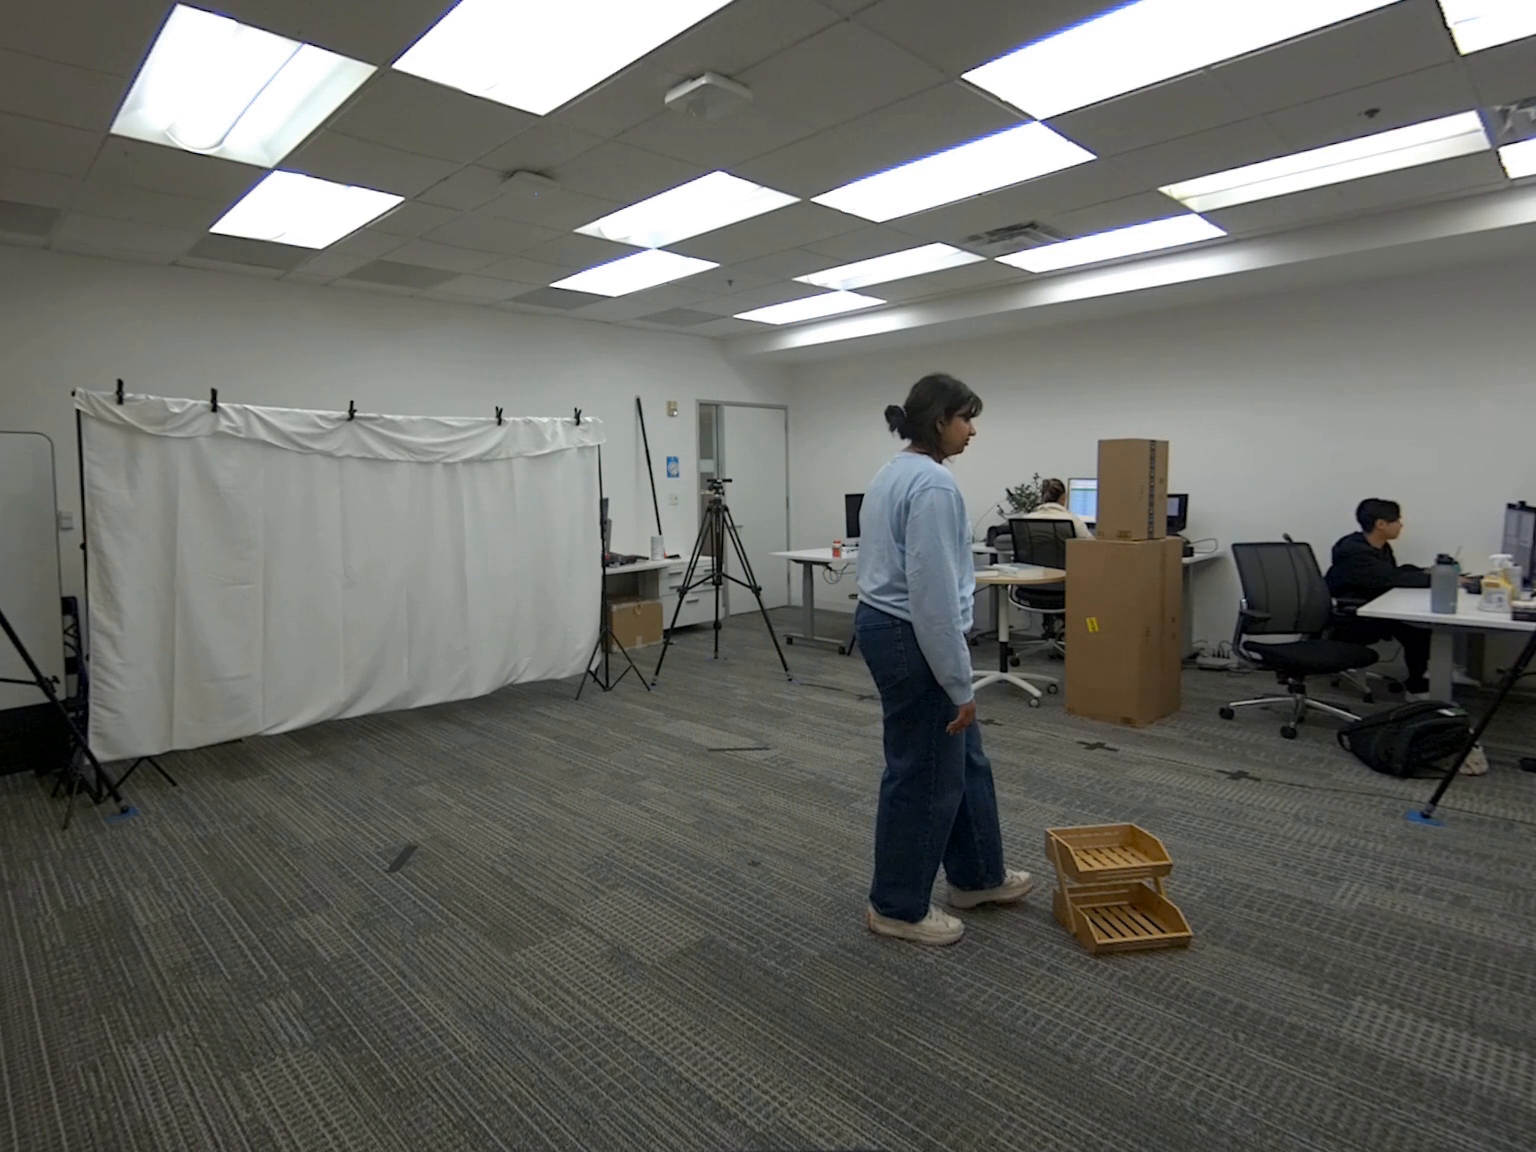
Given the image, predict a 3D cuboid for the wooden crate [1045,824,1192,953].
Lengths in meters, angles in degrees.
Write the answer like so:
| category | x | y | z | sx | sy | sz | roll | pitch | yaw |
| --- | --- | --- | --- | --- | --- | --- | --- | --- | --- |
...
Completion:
| category | x | y | z | sx | sy | sz | roll | pitch | yaw |
| --- | --- | --- | --- | --- | --- | --- | --- | --- | --- |
| wooden crate | 1.070 | 0.946 | 2.609 | 0.322 | 0.272 | 0.305 | -2 | 4 | -9 |
